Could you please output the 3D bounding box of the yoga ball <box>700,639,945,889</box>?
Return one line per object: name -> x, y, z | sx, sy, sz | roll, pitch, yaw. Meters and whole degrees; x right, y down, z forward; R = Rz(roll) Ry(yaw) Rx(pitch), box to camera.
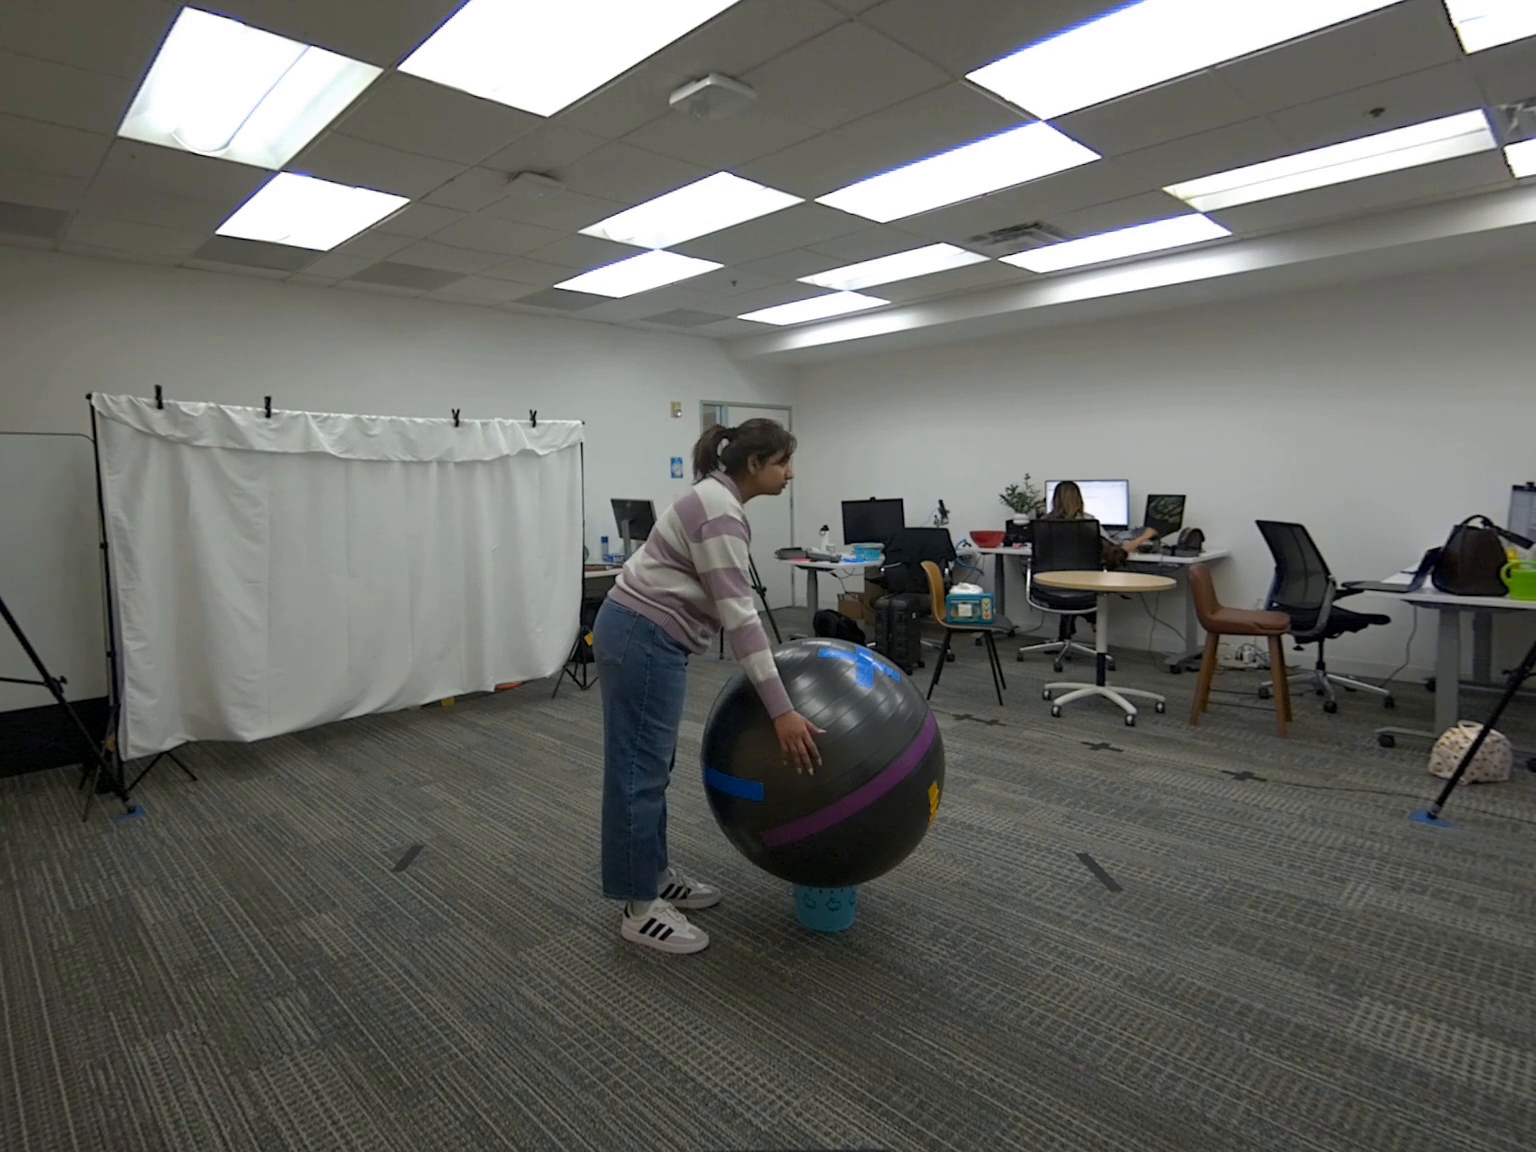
yoga ball -> 0.169, 0.588, 2.674 | 0.757, 0.755, 0.762 | -1, 5, -2
